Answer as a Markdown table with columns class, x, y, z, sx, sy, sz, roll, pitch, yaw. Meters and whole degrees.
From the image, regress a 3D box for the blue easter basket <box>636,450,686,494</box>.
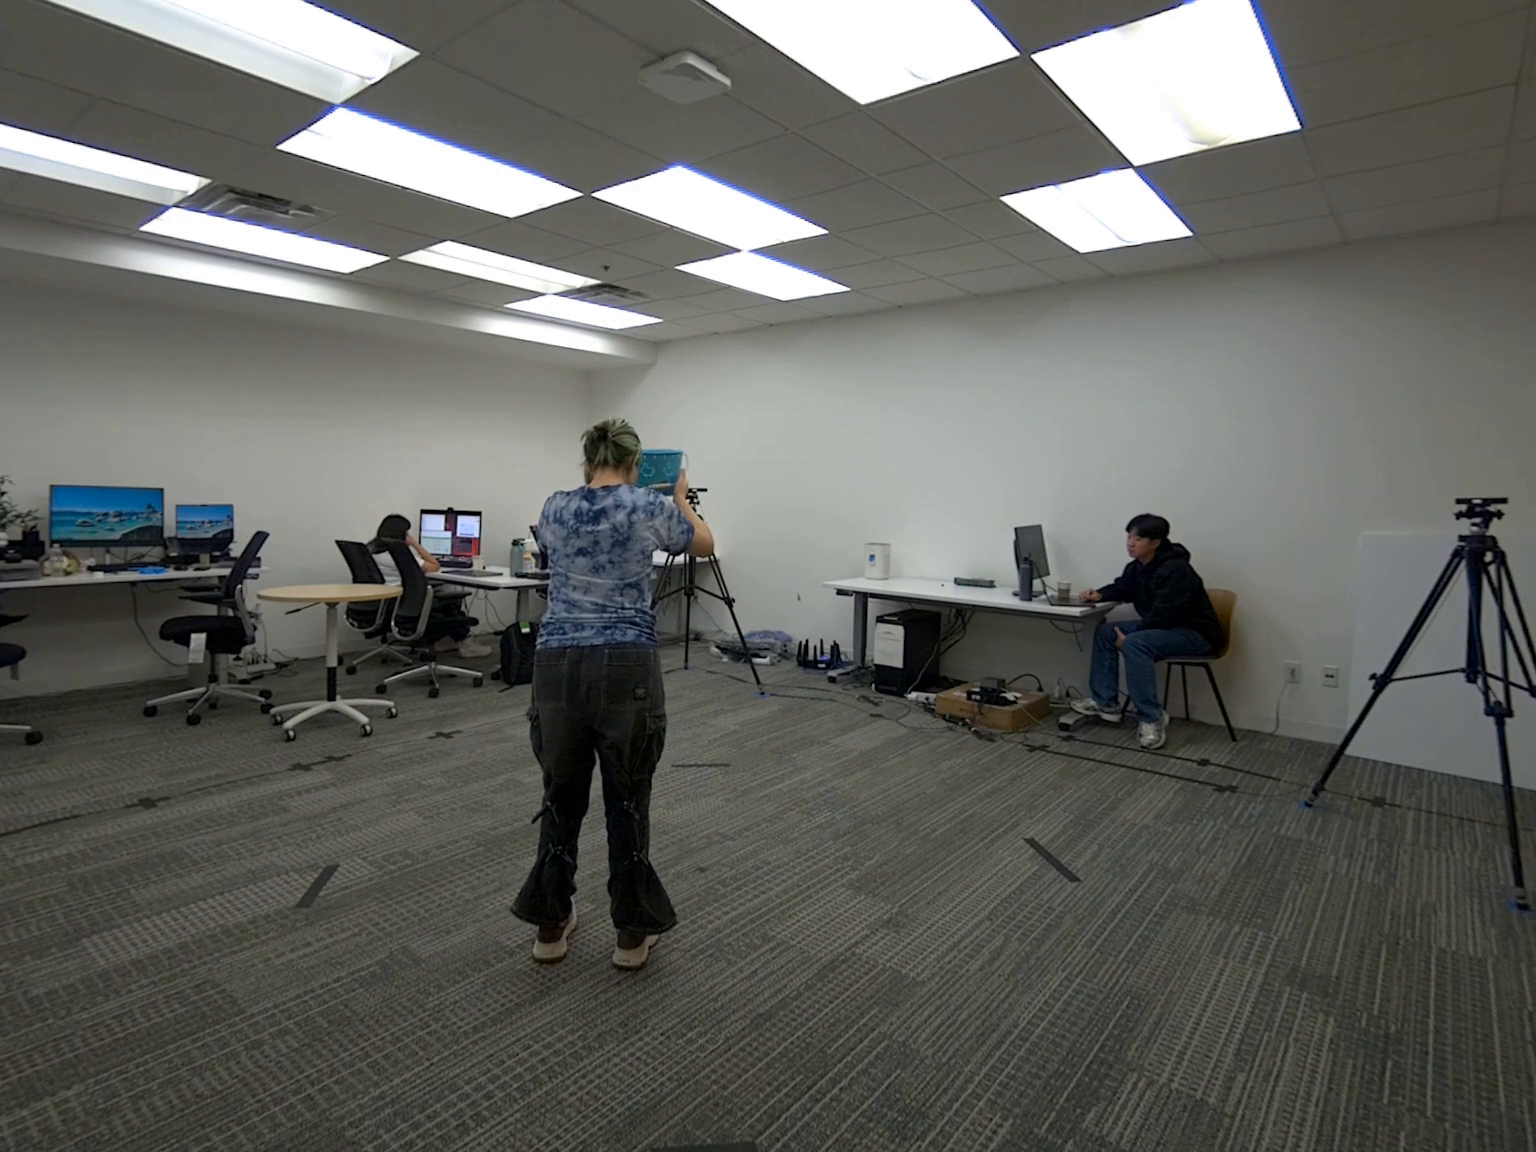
| class | x | y | z | sx | sy | sz | roll | pitch | yaw |
| --- | --- | --- | --- | --- | --- | --- | --- | --- | --- |
| blue easter basket | -0.420 | -0.359 | 2.944 | 0.243 | 0.154 | 0.246 | 0 | 10 | -2 |
